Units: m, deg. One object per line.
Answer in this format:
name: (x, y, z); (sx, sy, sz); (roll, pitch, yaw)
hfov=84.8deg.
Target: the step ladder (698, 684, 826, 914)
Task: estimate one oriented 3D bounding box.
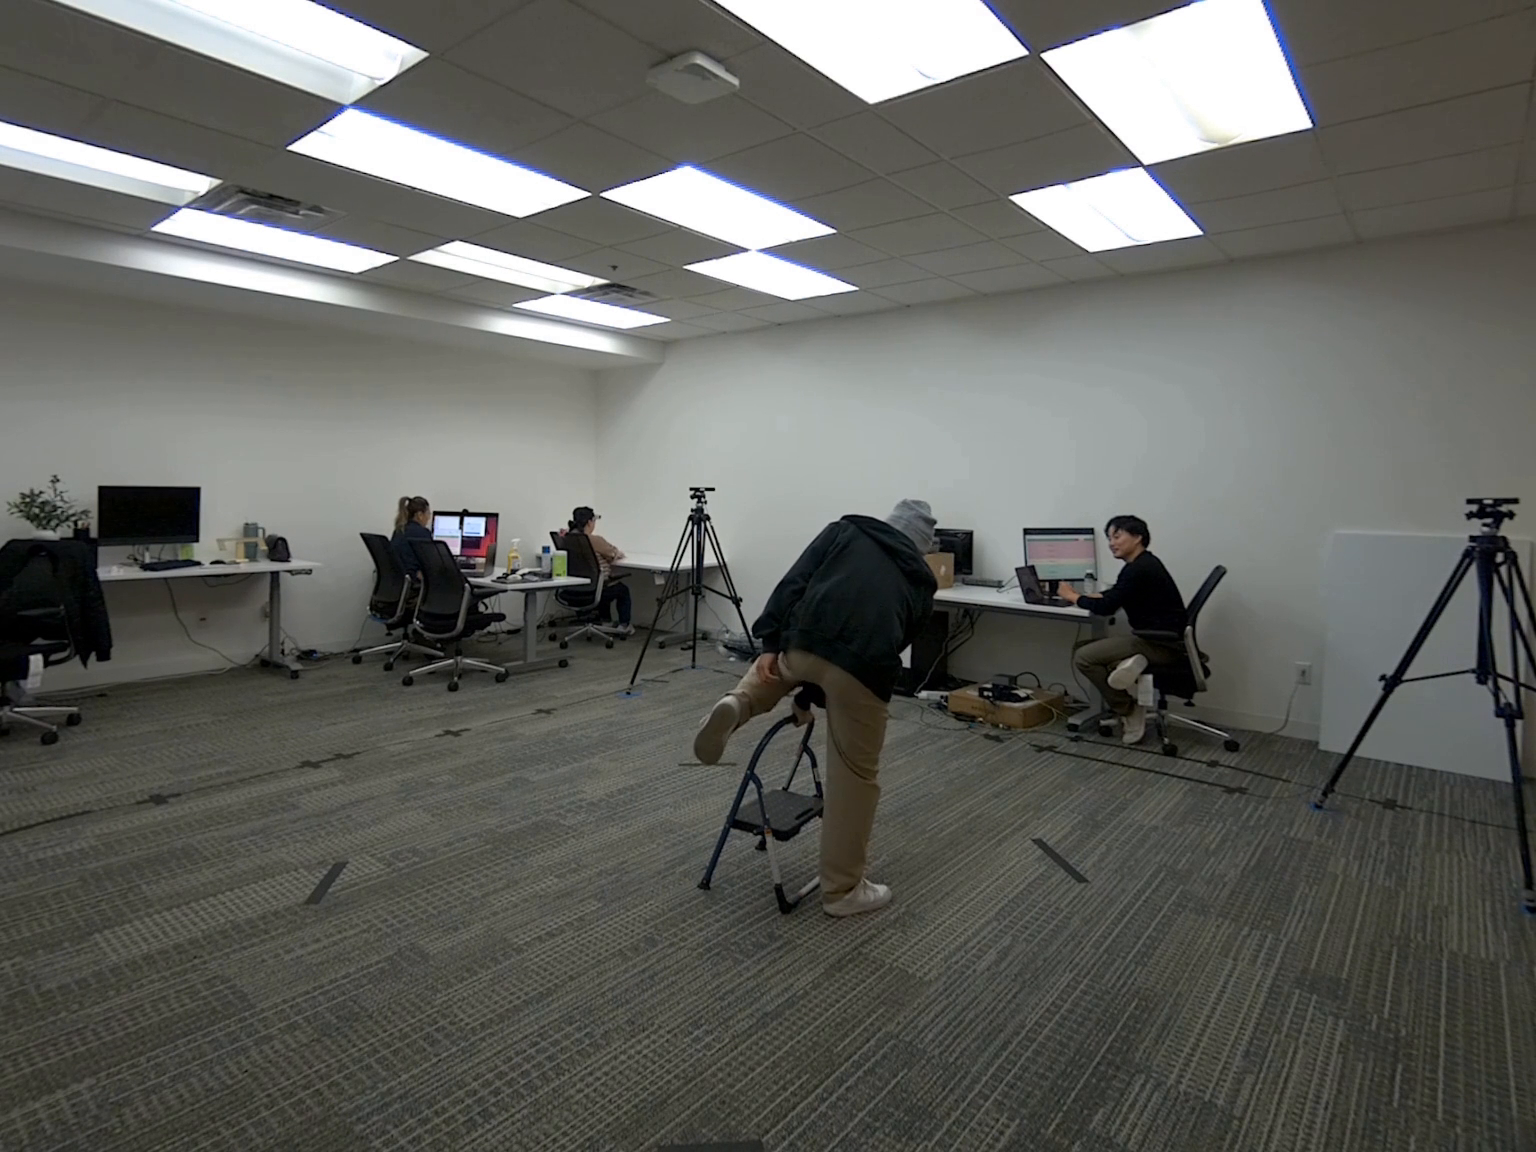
step ladder: (0.008, 0.777, 3.024); (0.360, 0.604, 0.419); (3, 4, 30)
